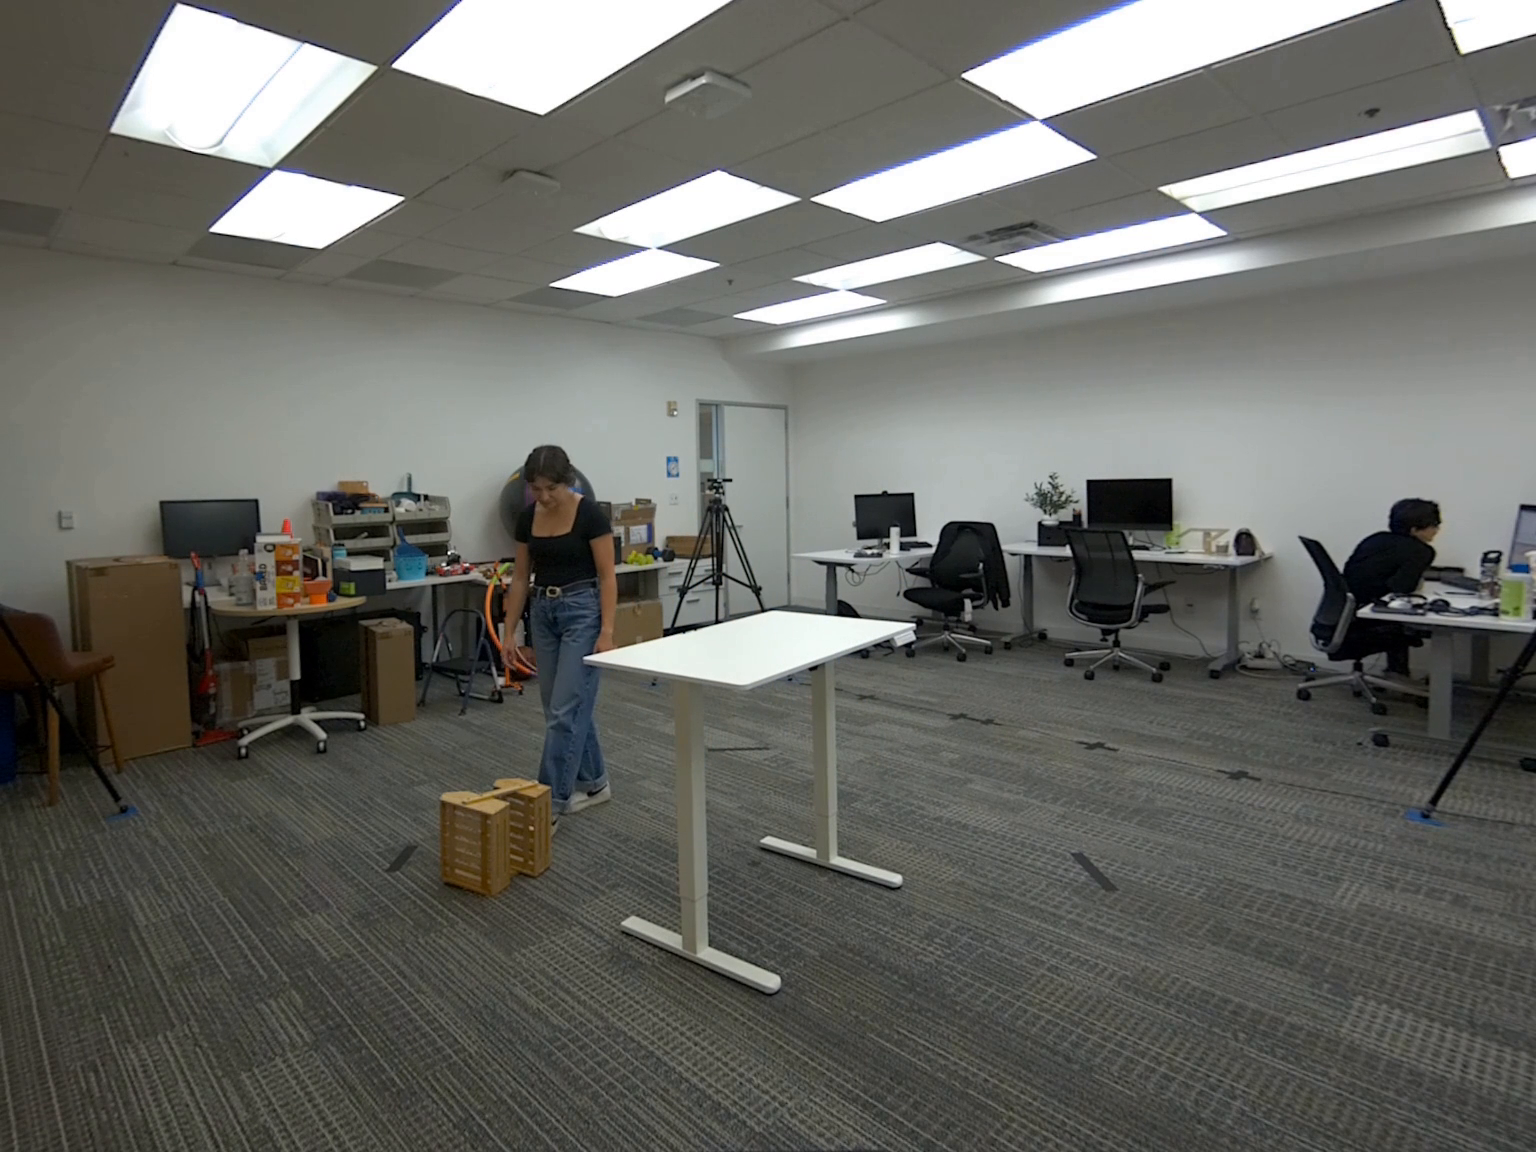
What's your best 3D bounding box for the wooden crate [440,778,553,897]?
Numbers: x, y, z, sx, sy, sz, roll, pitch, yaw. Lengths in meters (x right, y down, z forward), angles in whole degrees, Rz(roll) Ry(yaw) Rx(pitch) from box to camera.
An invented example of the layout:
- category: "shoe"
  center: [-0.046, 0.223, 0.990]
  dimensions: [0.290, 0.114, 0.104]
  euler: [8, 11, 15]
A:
- category: "wooden crate"
  center: [-0.976, 0.912, 3.030]
  dimensions: [0.309, 0.322, 0.269]
  euler: [7, 10, 22]
